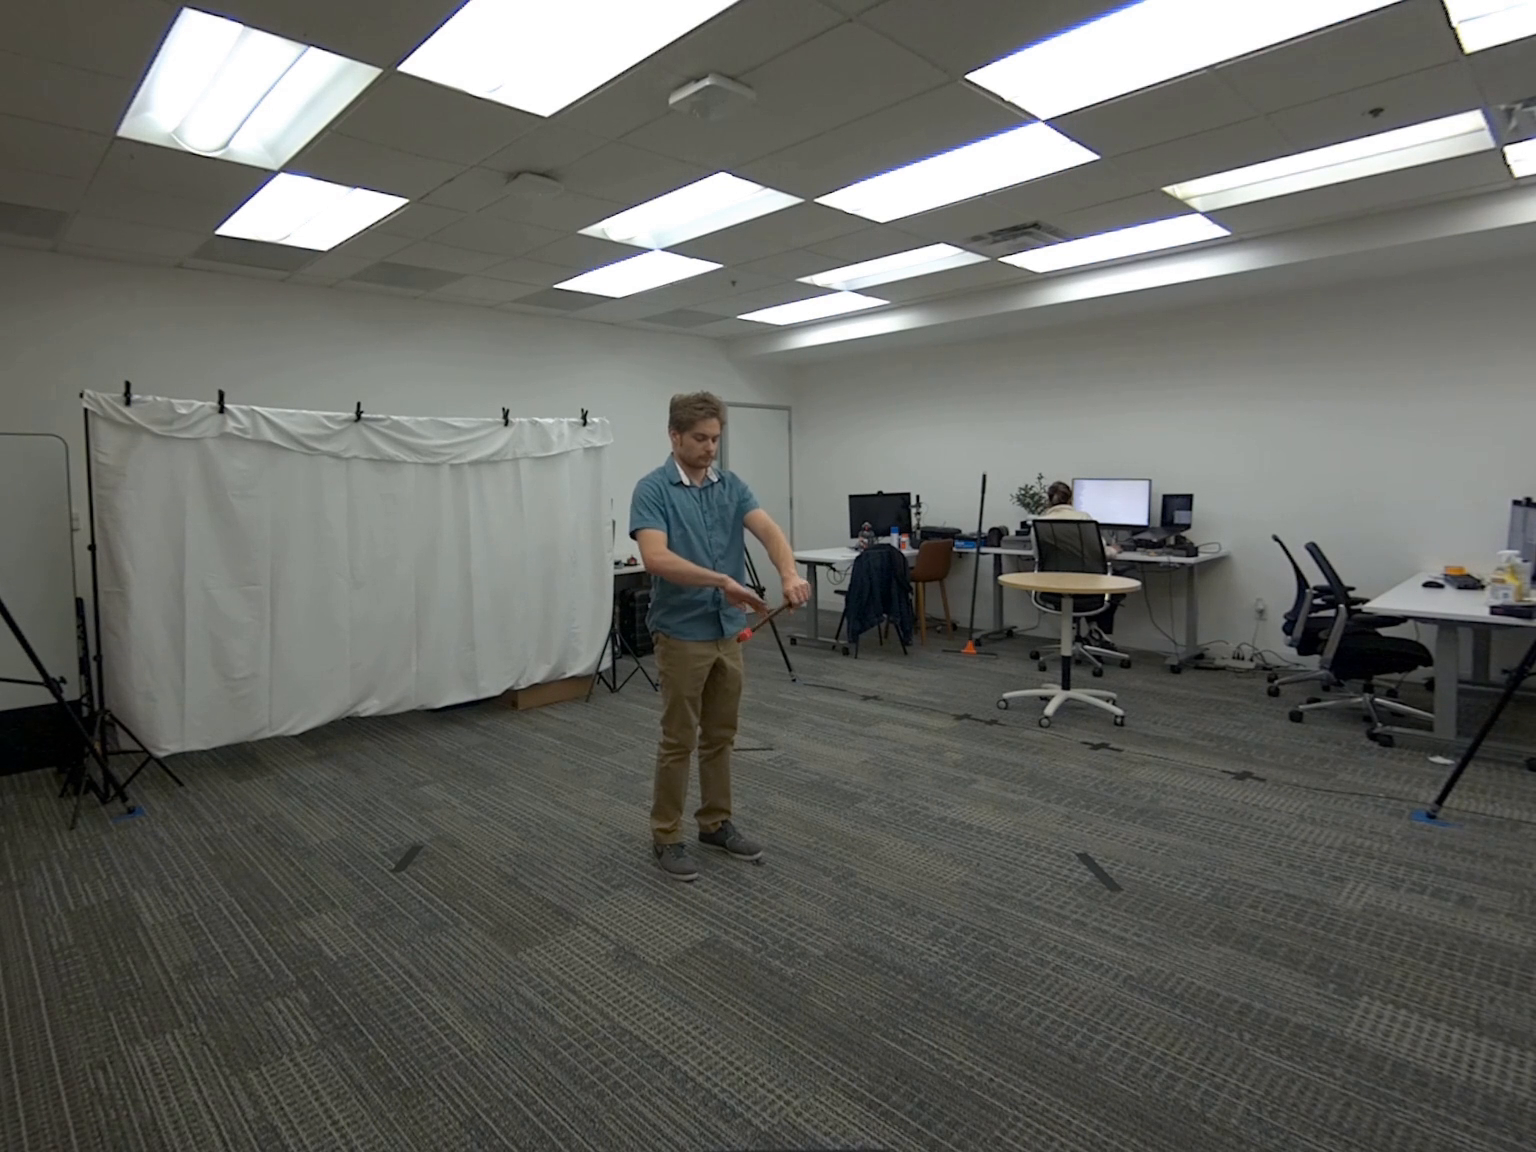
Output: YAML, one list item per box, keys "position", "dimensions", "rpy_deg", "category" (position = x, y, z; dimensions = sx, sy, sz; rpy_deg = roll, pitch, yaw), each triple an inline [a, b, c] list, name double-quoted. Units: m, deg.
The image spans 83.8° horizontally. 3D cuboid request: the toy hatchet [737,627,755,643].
- position: [0.020, 0.129, 2.783]
  dimensions: [0.268, 0.030, 0.130]
  rpy_deg: [-31, -13, -24]
  category: "toy hatchet"
